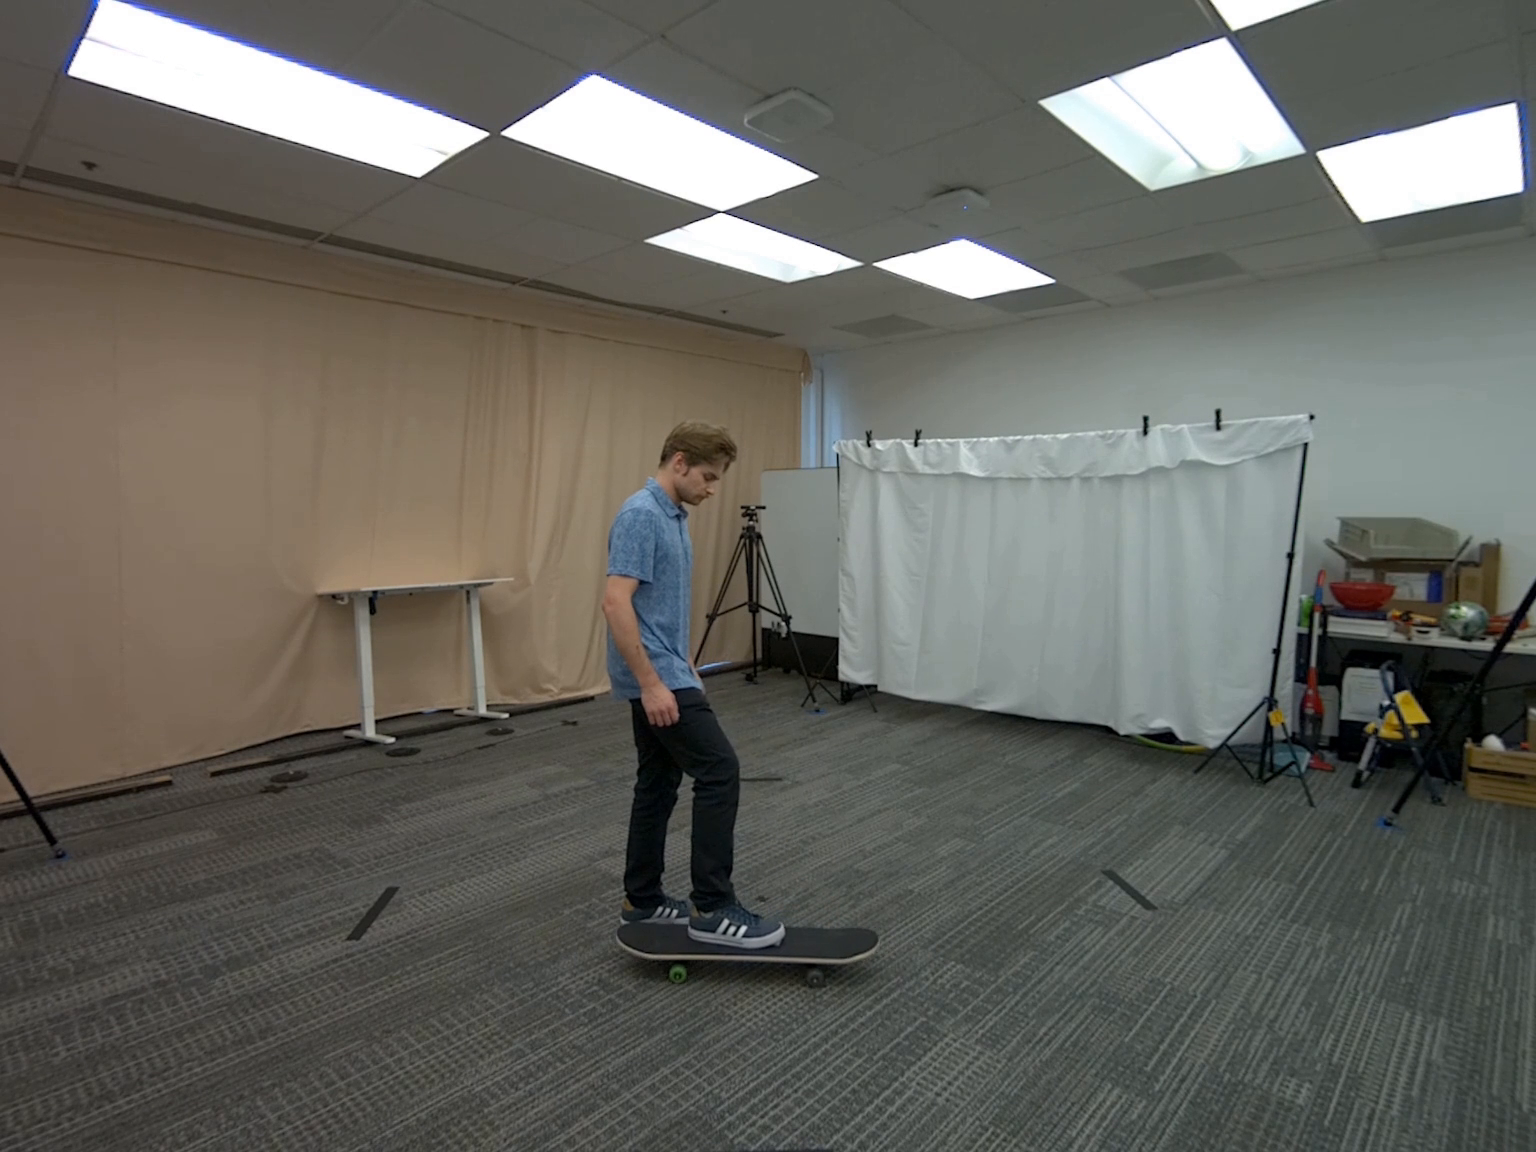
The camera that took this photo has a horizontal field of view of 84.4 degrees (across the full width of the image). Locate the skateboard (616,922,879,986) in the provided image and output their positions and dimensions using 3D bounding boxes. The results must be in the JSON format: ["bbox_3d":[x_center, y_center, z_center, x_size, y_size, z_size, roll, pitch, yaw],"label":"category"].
[{"bbox_3d":[-0.051,1.123,2.526,0.787,0.110,0.193,0,2,2],"label":"skateboard"}]
